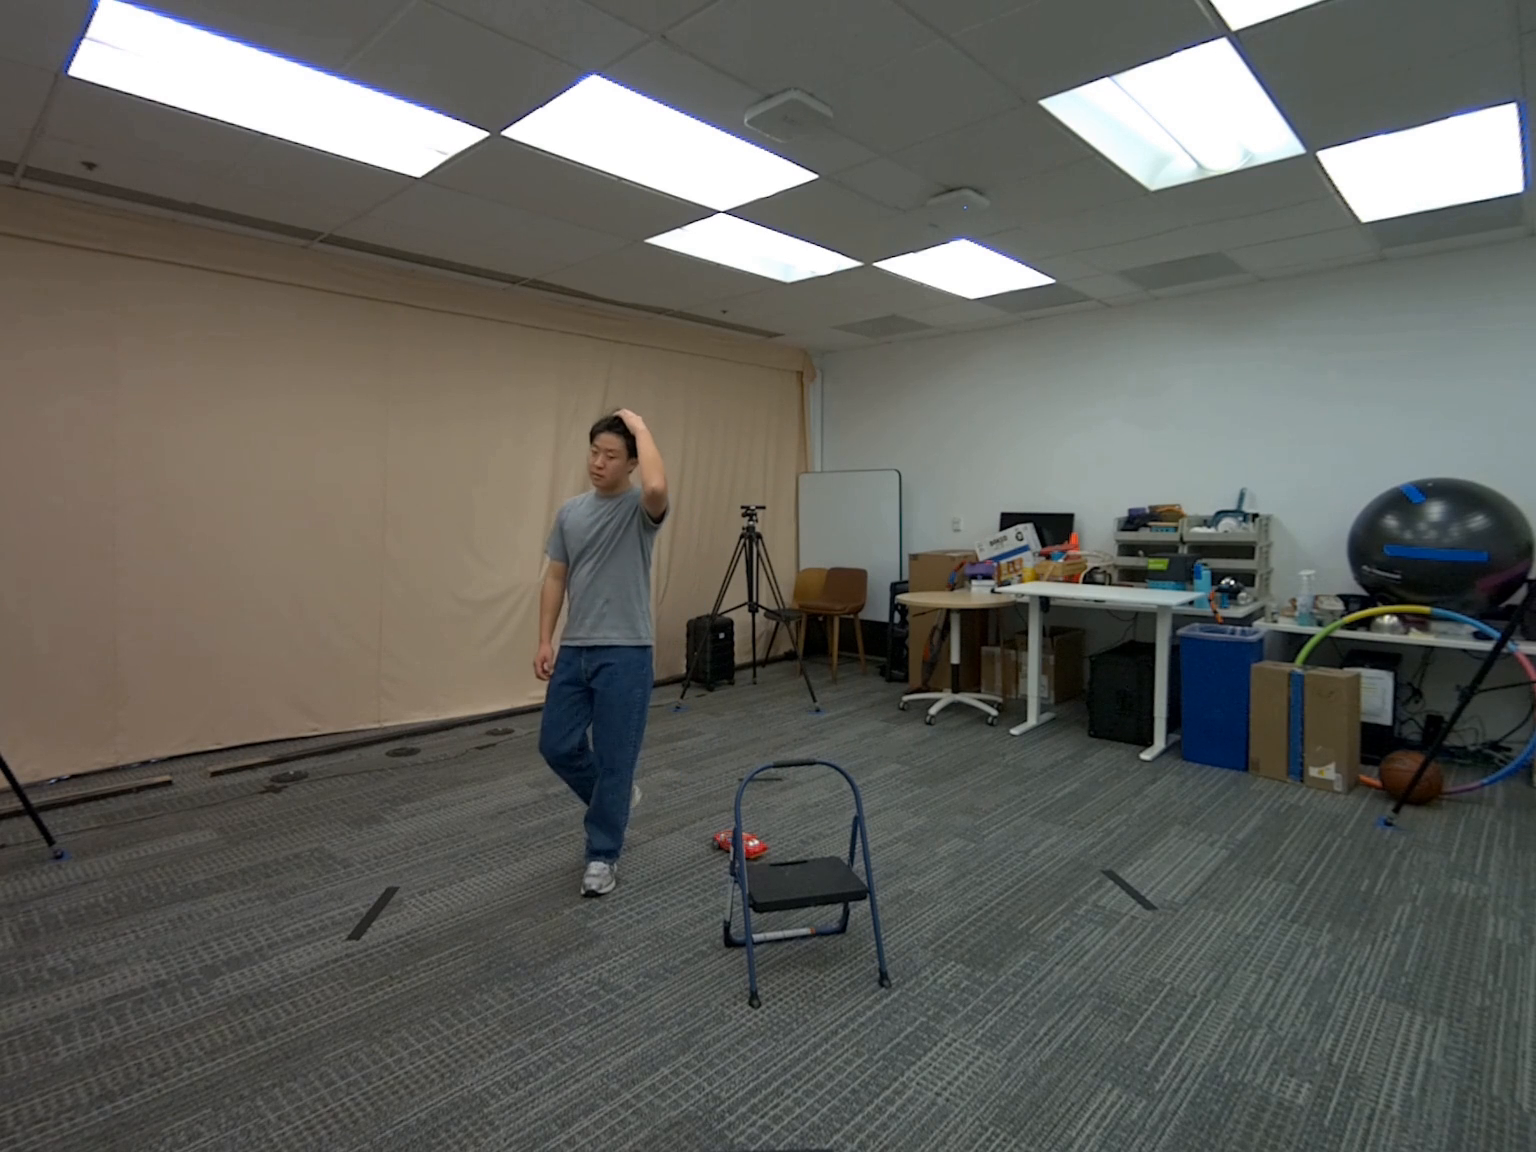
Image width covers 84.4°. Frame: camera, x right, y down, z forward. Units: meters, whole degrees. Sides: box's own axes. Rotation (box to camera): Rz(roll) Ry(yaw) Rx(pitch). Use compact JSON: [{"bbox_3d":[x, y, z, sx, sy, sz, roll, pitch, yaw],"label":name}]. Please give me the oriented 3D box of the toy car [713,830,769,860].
[{"bbox_3d":[-0.106,1.080,3.373,0.126,0.083,0.261,-3,-5,-42],"label":"toy car"}]
